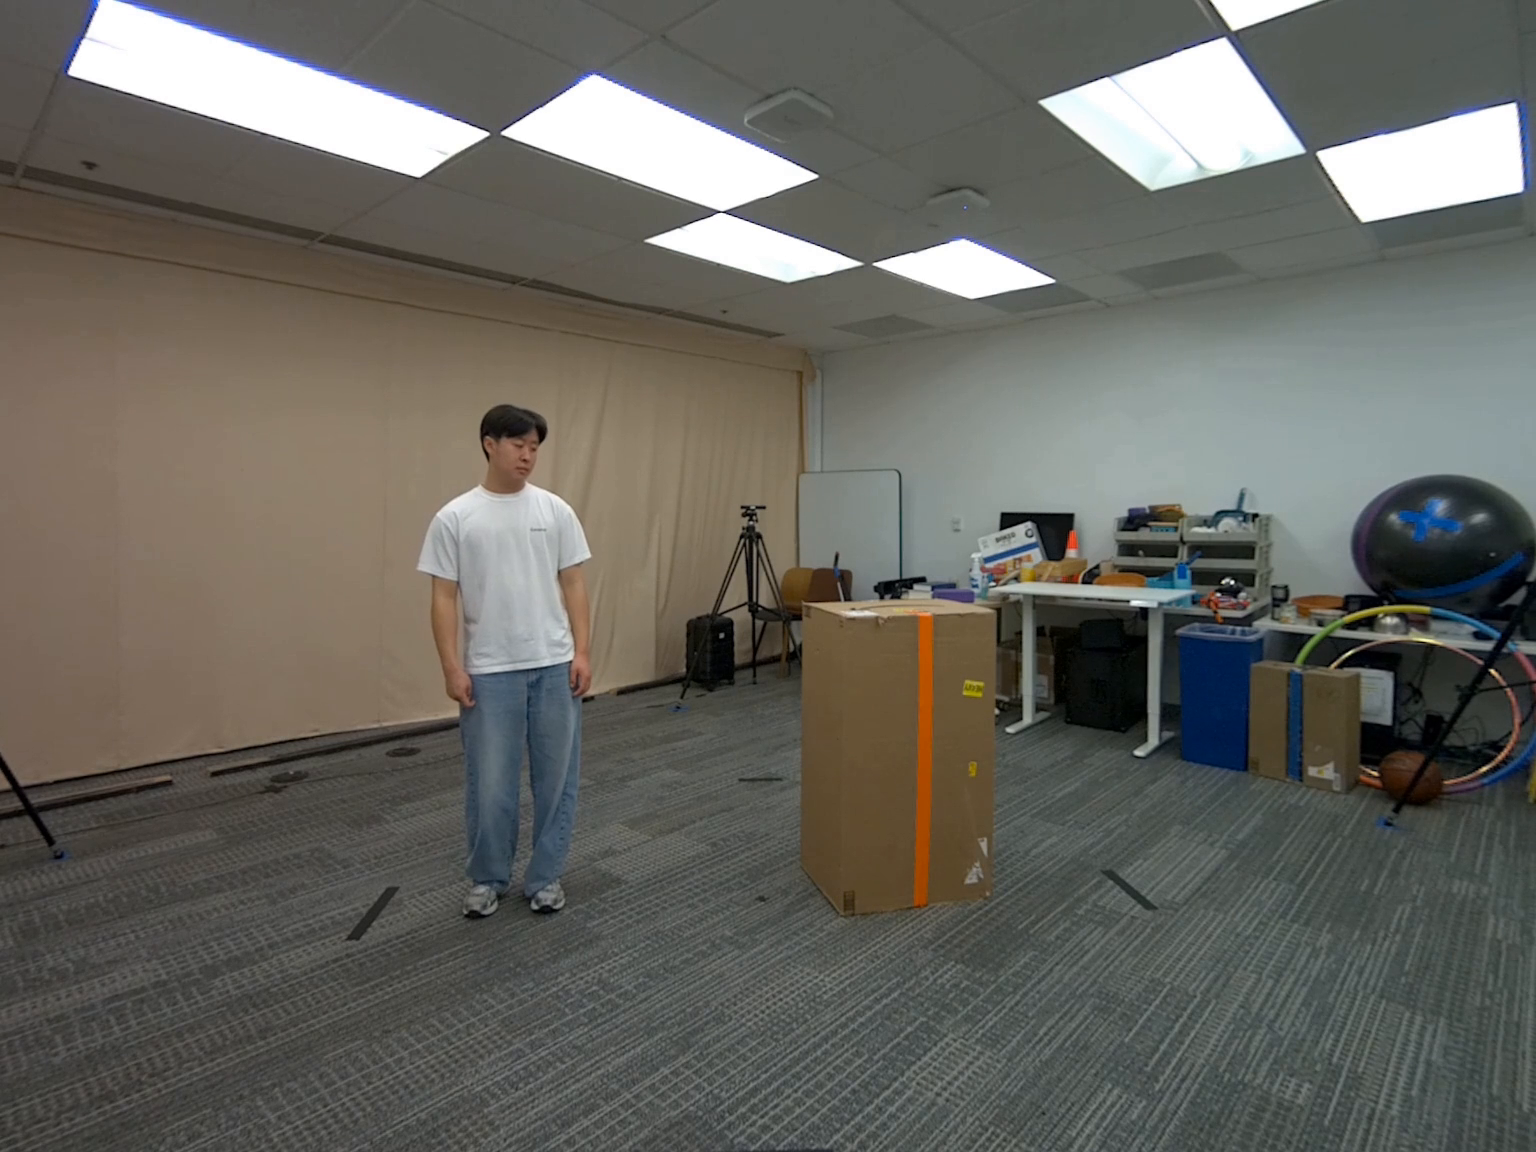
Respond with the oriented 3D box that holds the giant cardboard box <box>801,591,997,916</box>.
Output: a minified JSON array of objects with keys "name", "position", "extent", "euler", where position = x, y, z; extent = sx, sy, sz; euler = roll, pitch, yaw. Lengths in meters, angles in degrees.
[{"name":"giant cardboard box","position":[0.463,0.624,3.088],"extent":[0.567,1.024,0.434],"euler":[0,3,-17]}]
